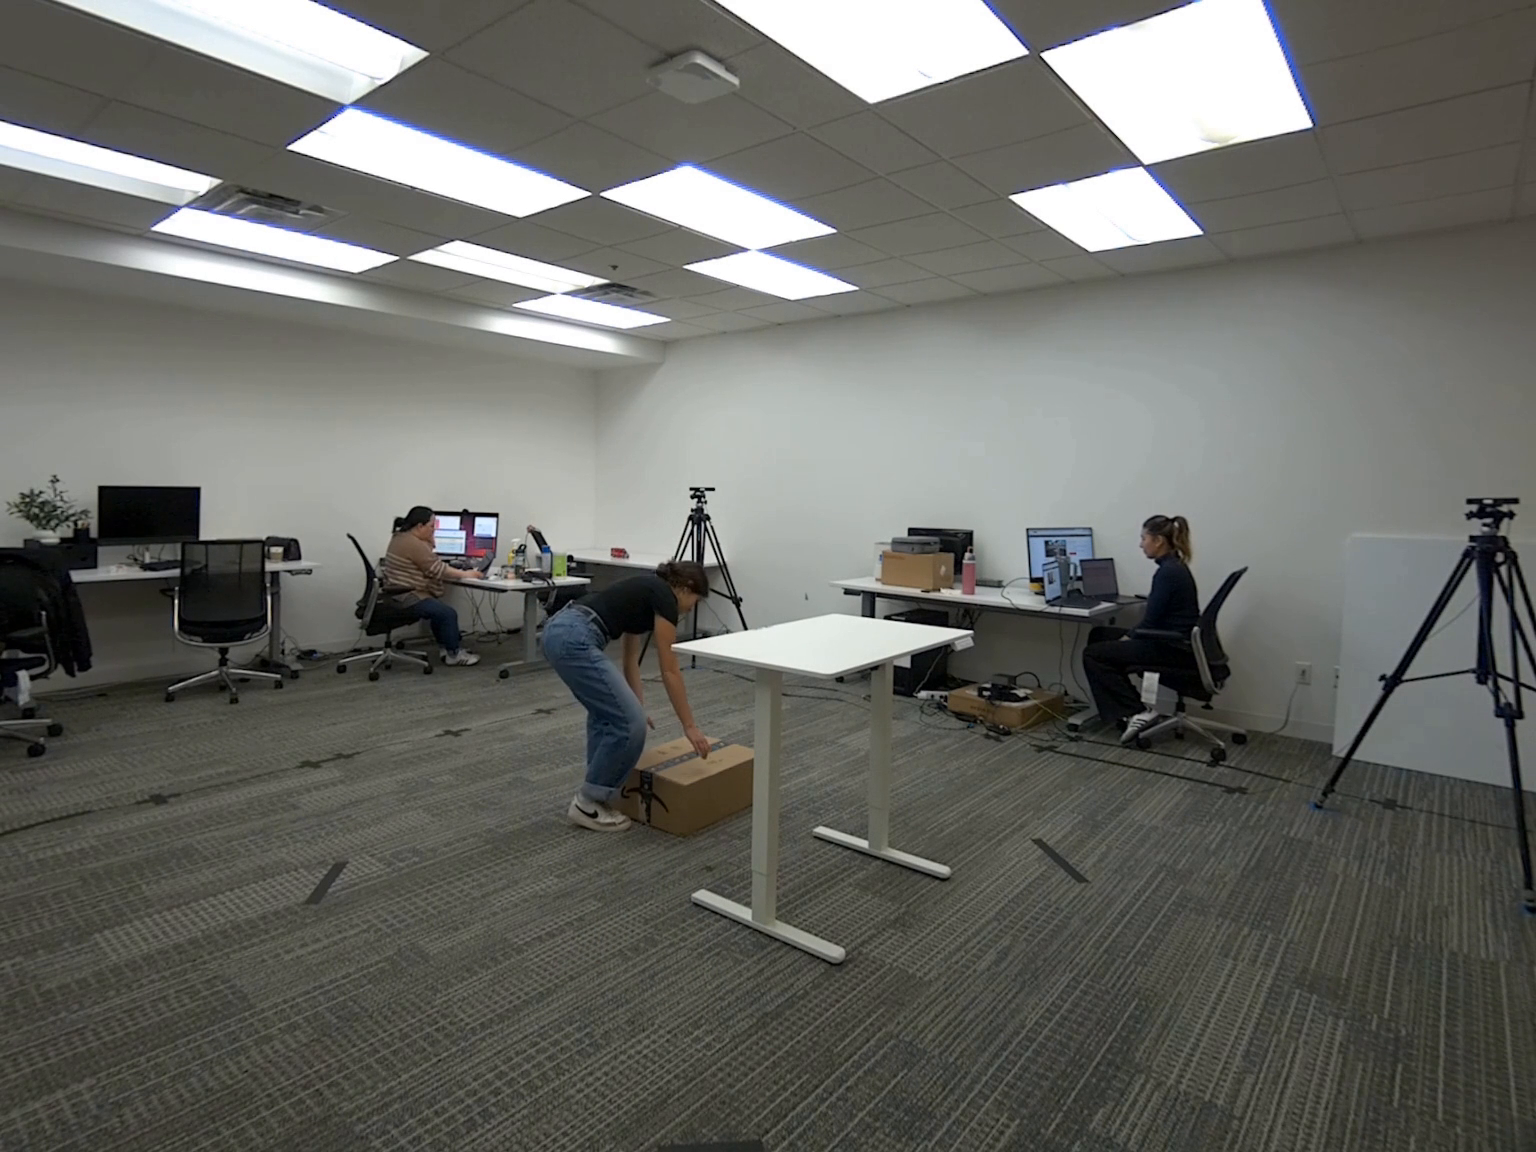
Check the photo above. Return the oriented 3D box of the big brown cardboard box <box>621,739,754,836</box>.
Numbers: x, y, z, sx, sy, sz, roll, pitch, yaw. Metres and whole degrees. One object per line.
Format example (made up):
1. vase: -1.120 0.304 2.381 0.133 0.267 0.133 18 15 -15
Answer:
1. big brown cardboard box: -0.350 0.893 3.719 0.432 0.232 0.572 6 7 37
